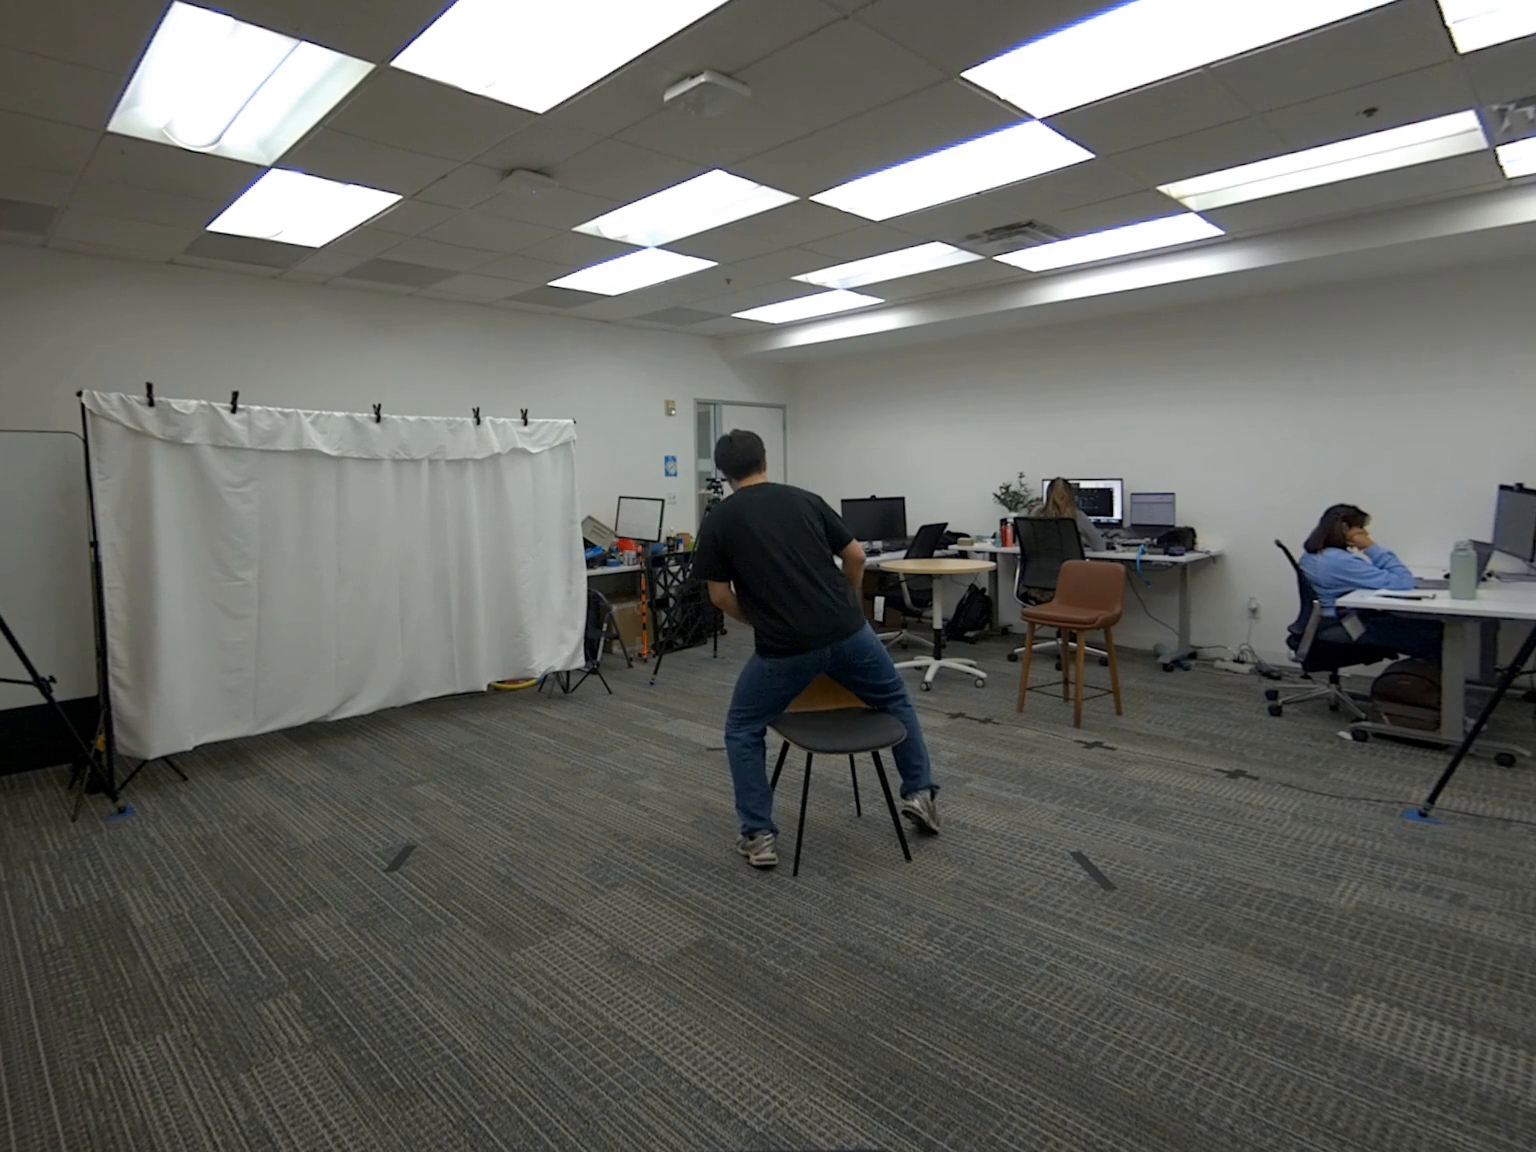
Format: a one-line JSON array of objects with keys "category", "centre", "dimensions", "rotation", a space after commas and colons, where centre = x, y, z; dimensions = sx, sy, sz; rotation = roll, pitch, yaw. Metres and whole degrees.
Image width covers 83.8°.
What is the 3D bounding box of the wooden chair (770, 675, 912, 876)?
[{"category": "wooden chair", "centre": [0.240, 0.597, 3.223], "dimensions": [0.471, 0.878, 0.531], "rotation": [-2, 0, -16]}]
